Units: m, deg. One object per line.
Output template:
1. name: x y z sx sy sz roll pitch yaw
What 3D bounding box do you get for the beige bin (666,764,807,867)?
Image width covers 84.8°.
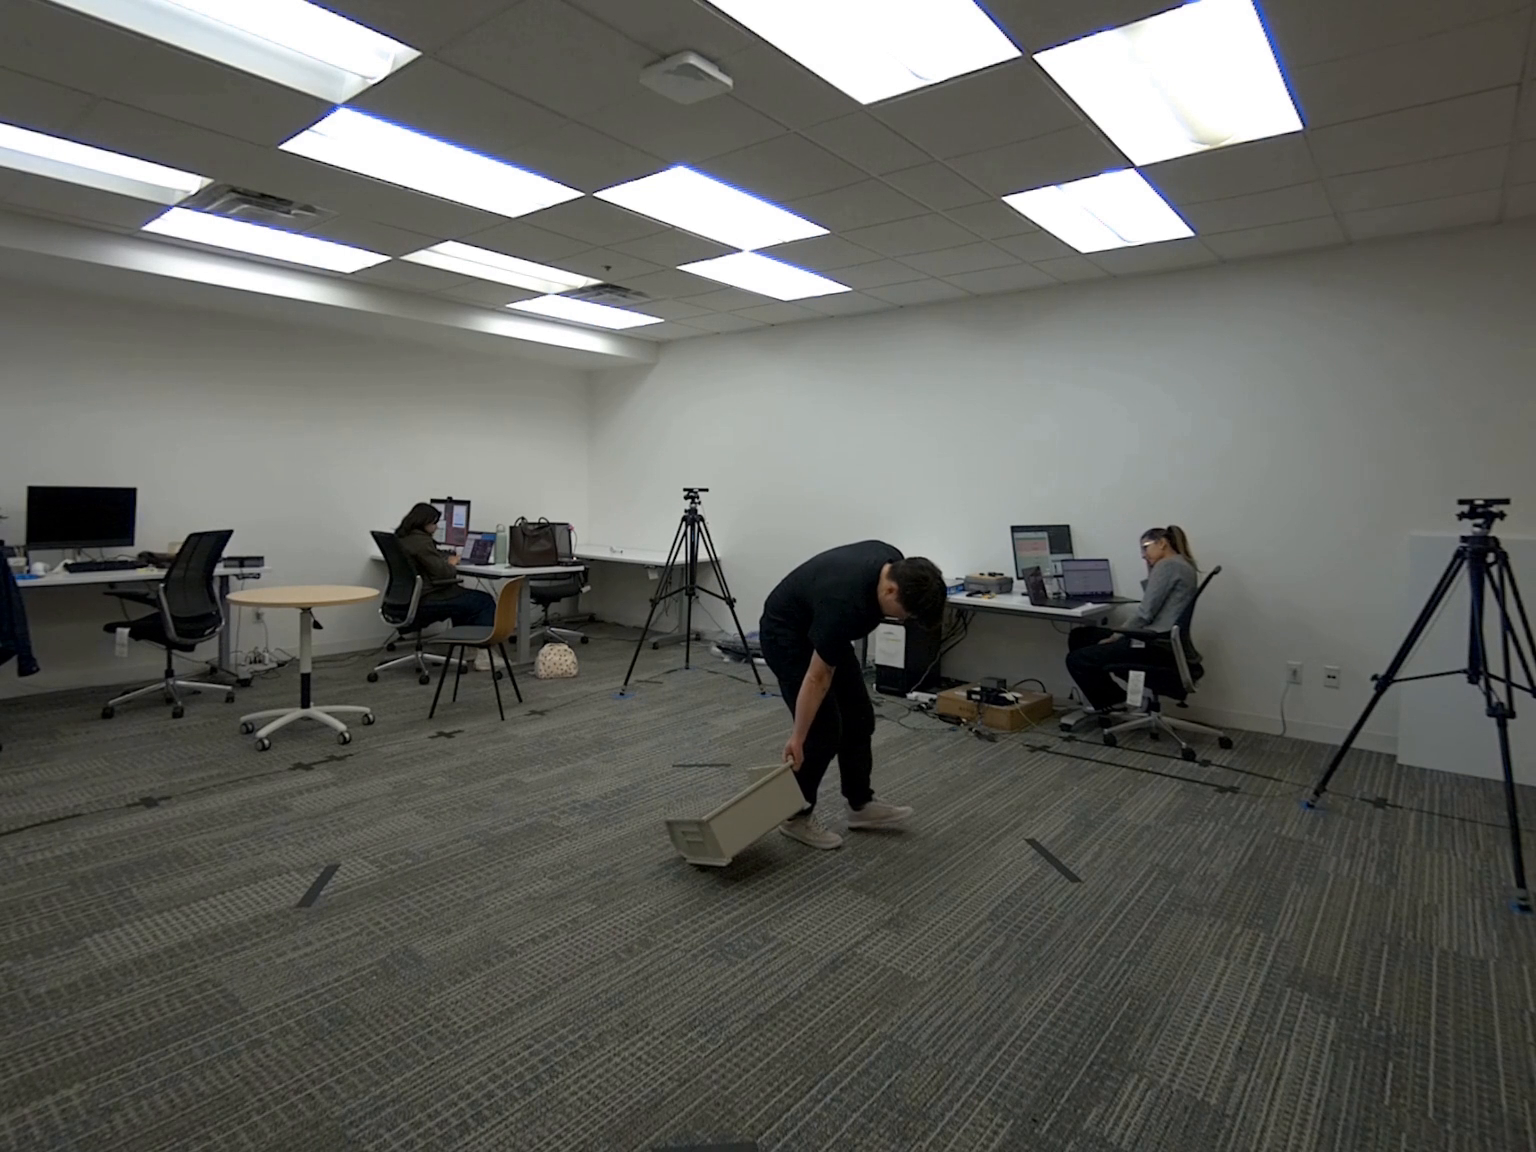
1. beige bin: -0.155 0.885 3.163 0.415 0.189 0.384 -26 2 -41
